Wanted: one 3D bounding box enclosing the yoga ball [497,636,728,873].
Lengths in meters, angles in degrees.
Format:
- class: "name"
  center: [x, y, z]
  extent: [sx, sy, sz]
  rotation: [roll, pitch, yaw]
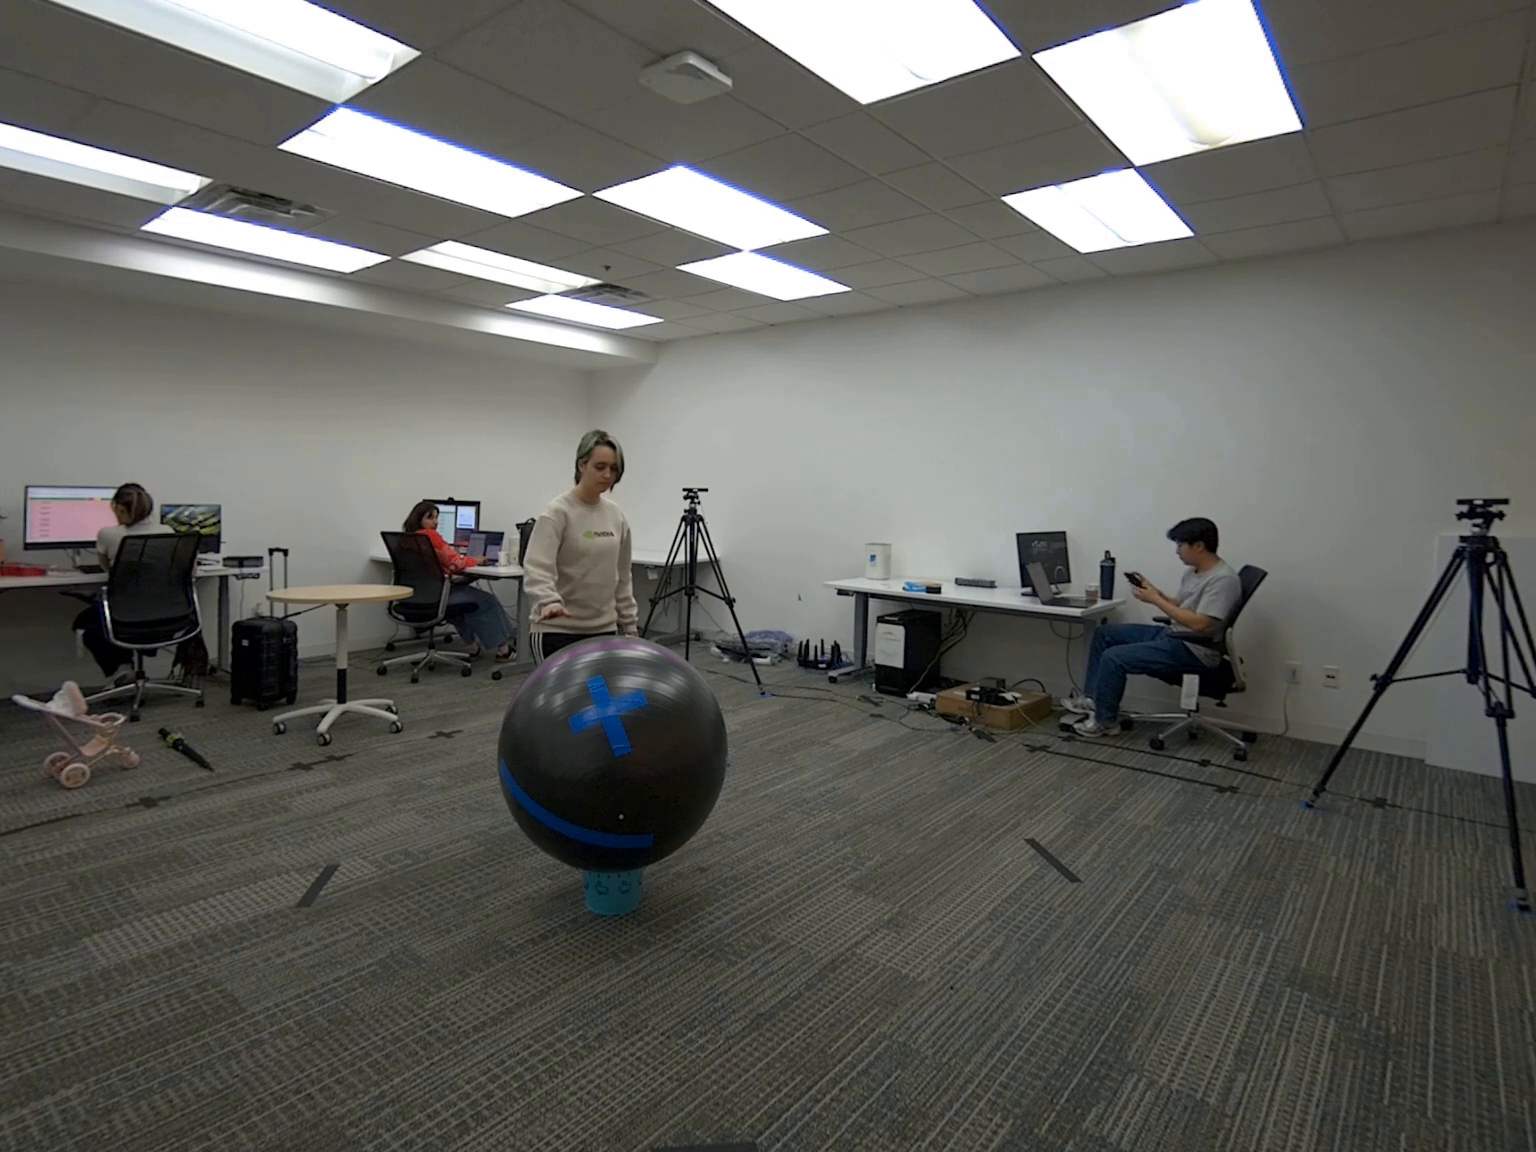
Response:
- class: "yoga ball"
  center: [-0.520, 0.580, 2.827]
  extent: [0.757, 0.755, 0.762]
  rotation: [1, 4, -2]
